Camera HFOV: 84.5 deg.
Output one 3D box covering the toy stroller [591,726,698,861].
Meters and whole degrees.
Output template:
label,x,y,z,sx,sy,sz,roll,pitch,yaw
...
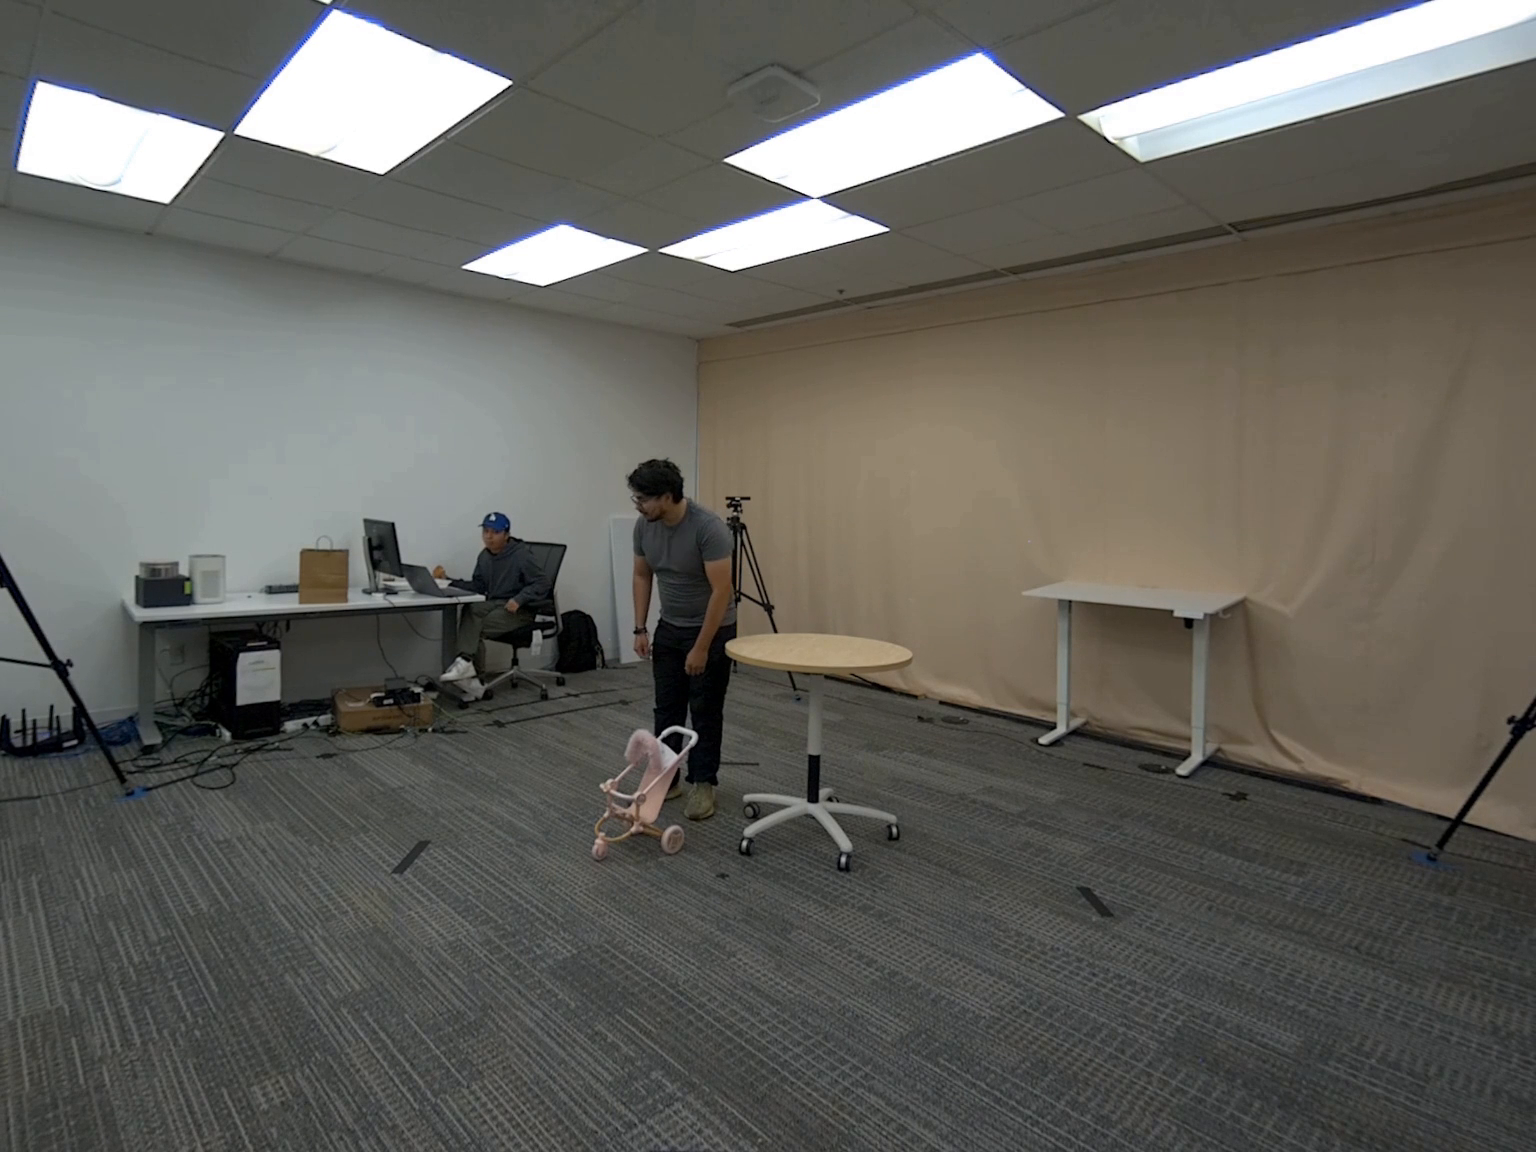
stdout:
label,x,y,z,sx,sy,sz,roll,pitch,yaw
toy stroller,-0.515,0.853,3.329,0.332,0.537,0.288,18,-8,-38
